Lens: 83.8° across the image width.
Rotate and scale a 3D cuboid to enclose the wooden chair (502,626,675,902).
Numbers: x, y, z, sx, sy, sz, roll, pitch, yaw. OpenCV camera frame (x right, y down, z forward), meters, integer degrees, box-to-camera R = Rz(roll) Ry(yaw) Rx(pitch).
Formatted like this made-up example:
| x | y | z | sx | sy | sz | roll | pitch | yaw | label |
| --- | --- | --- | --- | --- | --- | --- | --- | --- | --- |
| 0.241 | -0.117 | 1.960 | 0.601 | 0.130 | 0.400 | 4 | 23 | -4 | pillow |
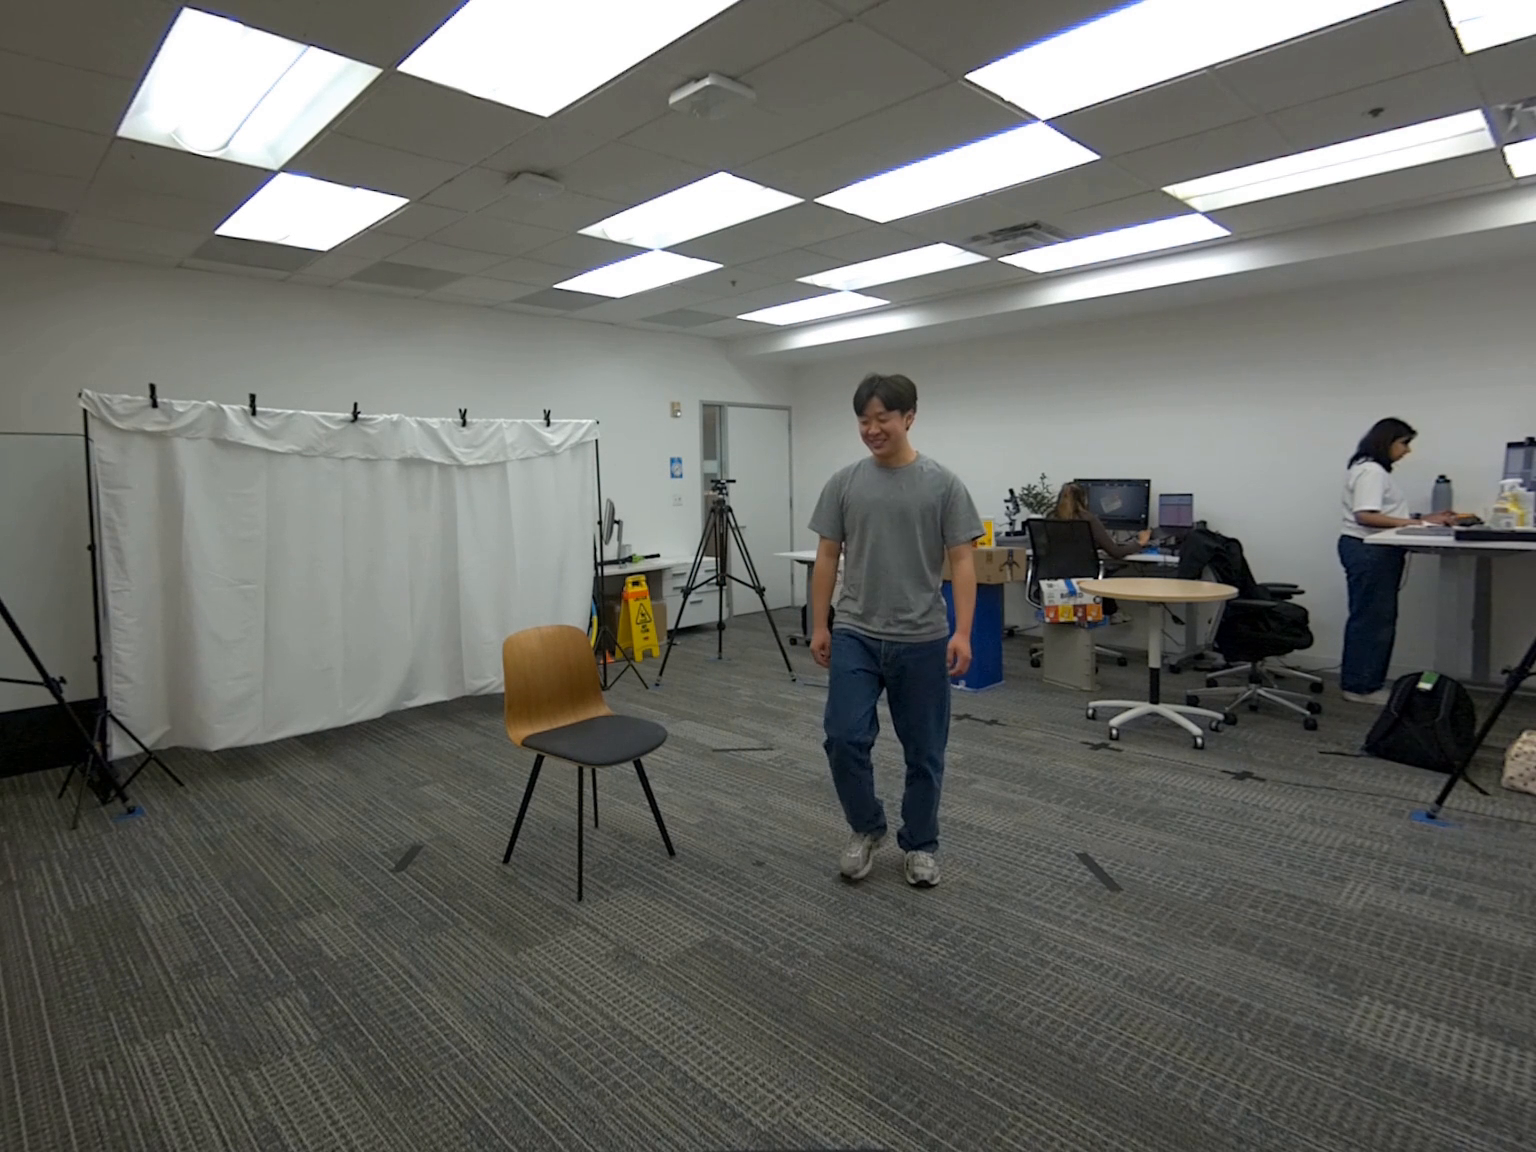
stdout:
| x | y | z | sx | sy | sz | roll | pitch | yaw | label |
| --- | --- | --- | --- | --- | --- | --- | --- | --- | --- |
| -0.662 | 0.627 | 3.129 | 0.537 | 0.877 | 0.465 | -3 | 2 | 41 | wooden chair |
